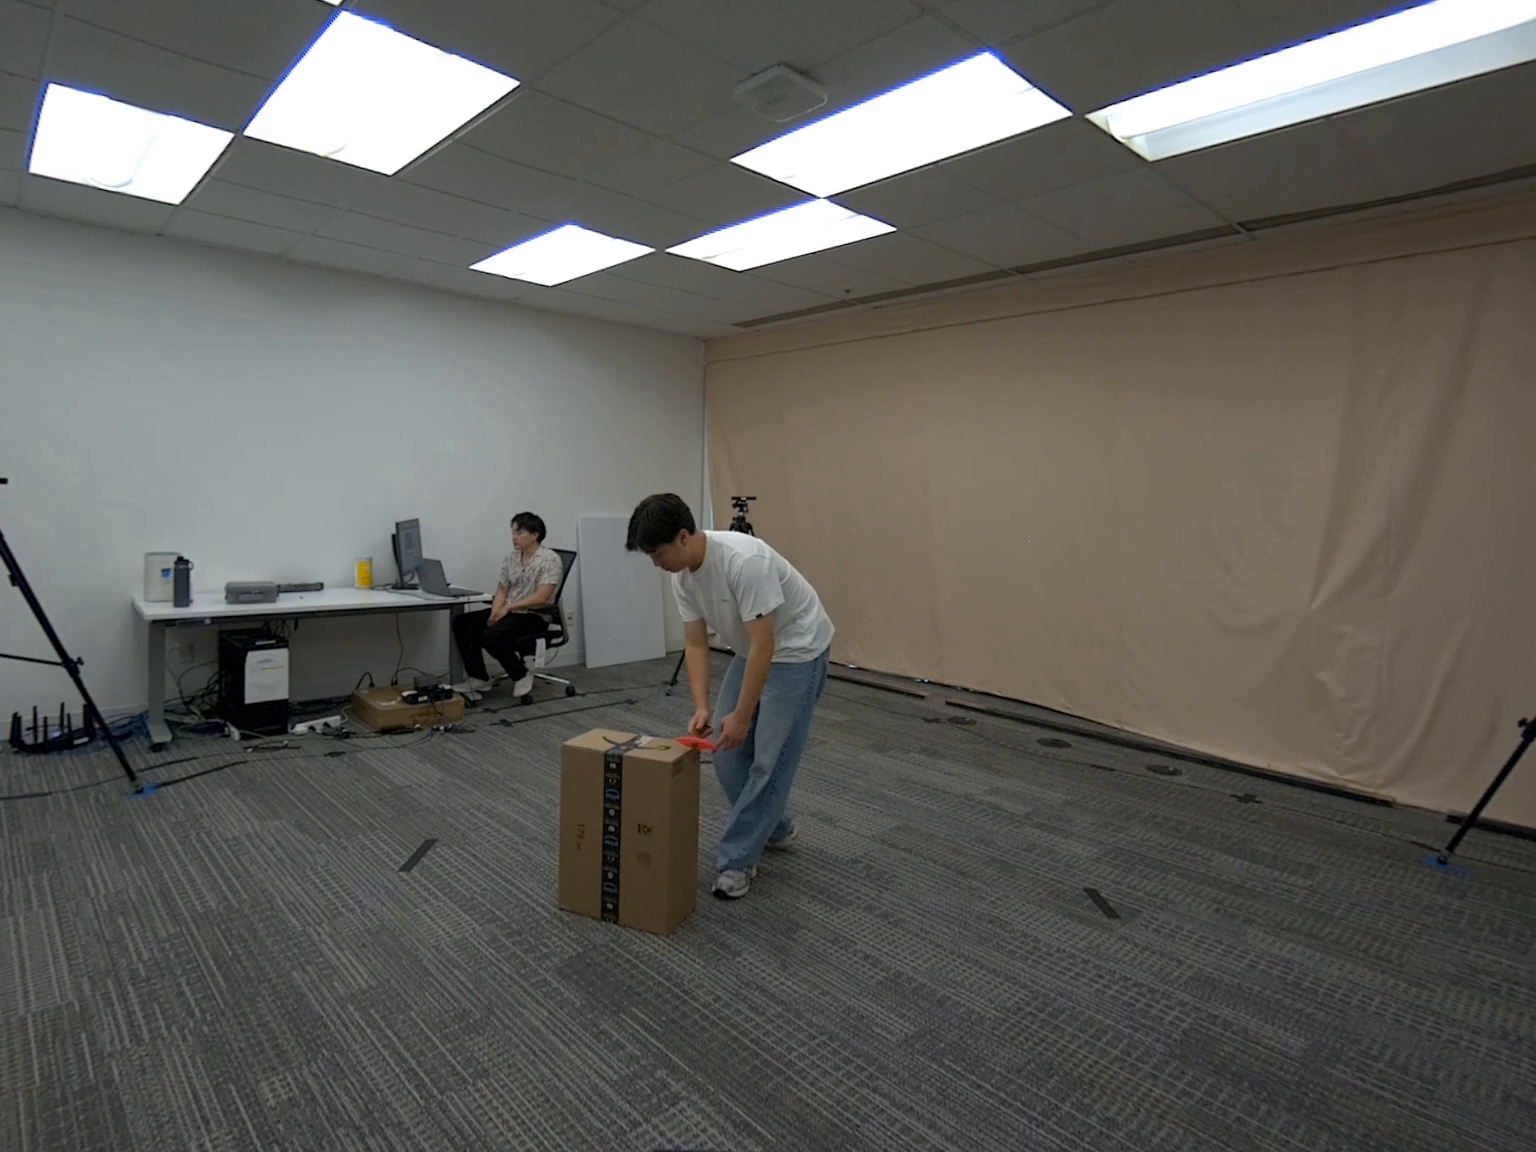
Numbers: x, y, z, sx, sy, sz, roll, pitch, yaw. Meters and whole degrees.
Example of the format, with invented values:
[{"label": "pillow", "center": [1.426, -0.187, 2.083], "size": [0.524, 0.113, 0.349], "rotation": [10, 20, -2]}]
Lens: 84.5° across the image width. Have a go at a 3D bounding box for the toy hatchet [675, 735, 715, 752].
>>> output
[{"label": "toy hatchet", "center": [-0.211, 0.541, 2.841], "size": [0.134, 0.029, 0.264], "rotation": [7, 3, 28]}]
